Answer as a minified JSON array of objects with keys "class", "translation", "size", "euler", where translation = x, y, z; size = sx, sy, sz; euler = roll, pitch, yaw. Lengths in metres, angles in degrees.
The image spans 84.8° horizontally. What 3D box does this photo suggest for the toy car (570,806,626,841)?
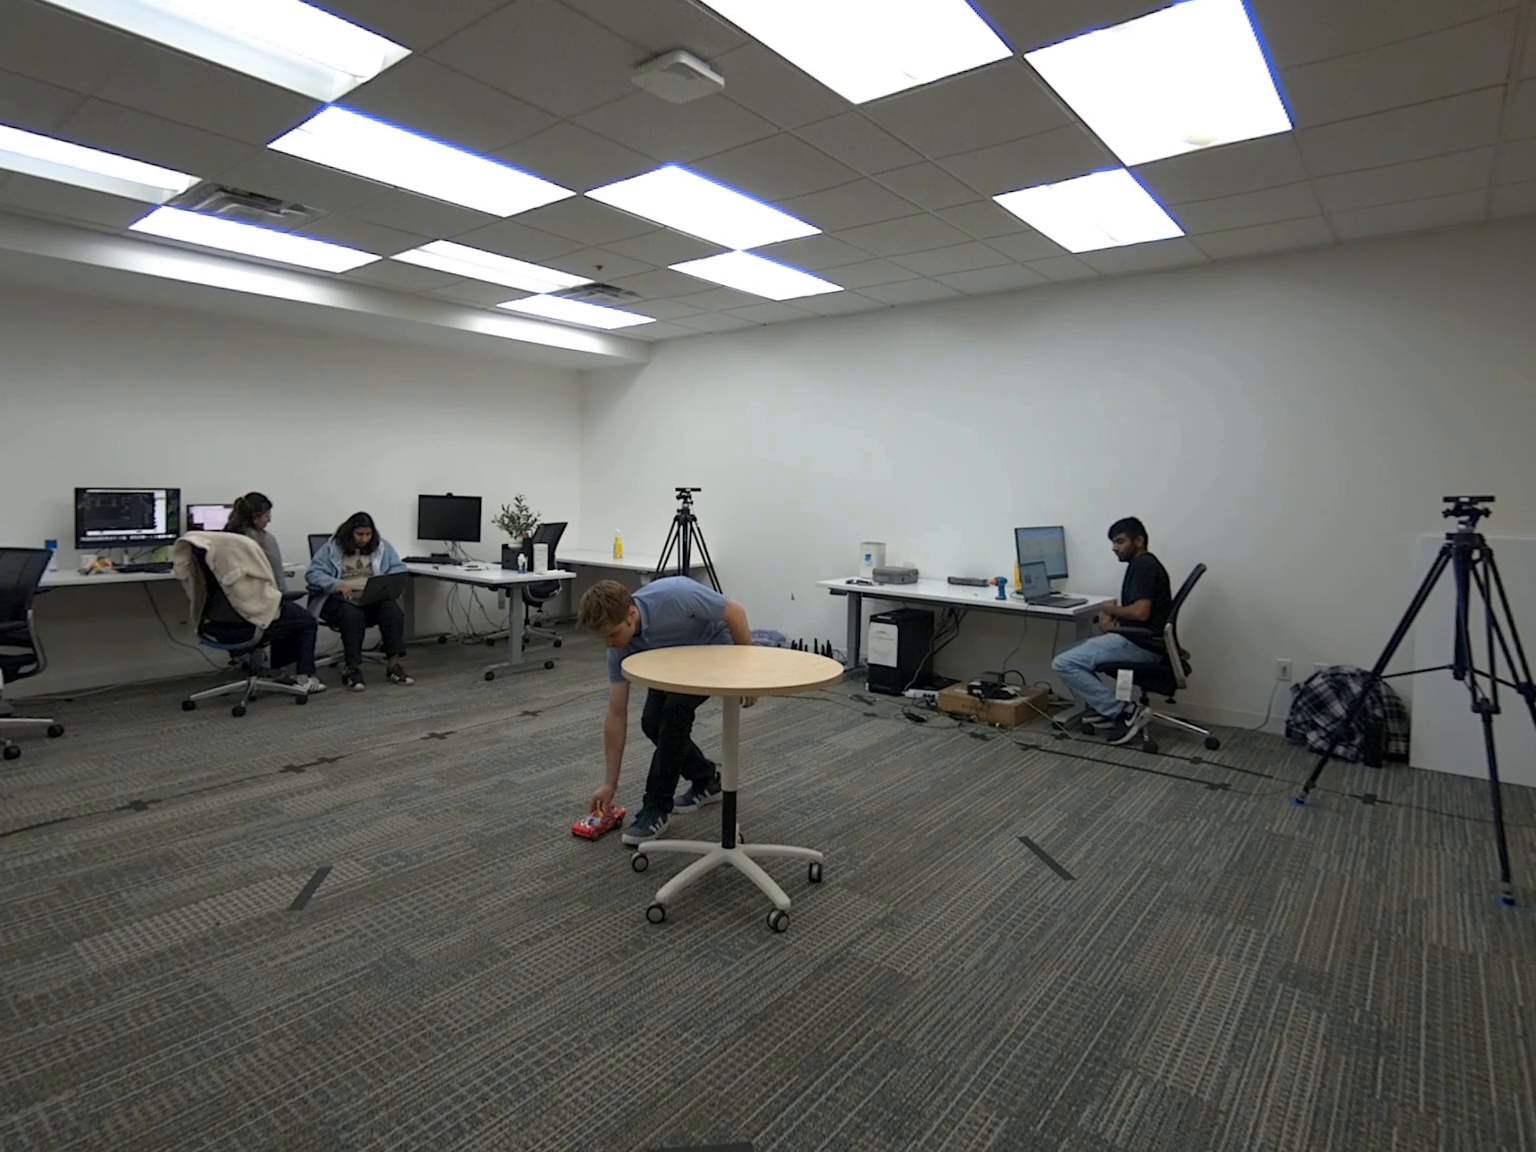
[{"class":"toy car","translation":[-0.687,0.997,3.450],"size":[0.134,0.082,0.250],"euler":[3,16,30]}]
